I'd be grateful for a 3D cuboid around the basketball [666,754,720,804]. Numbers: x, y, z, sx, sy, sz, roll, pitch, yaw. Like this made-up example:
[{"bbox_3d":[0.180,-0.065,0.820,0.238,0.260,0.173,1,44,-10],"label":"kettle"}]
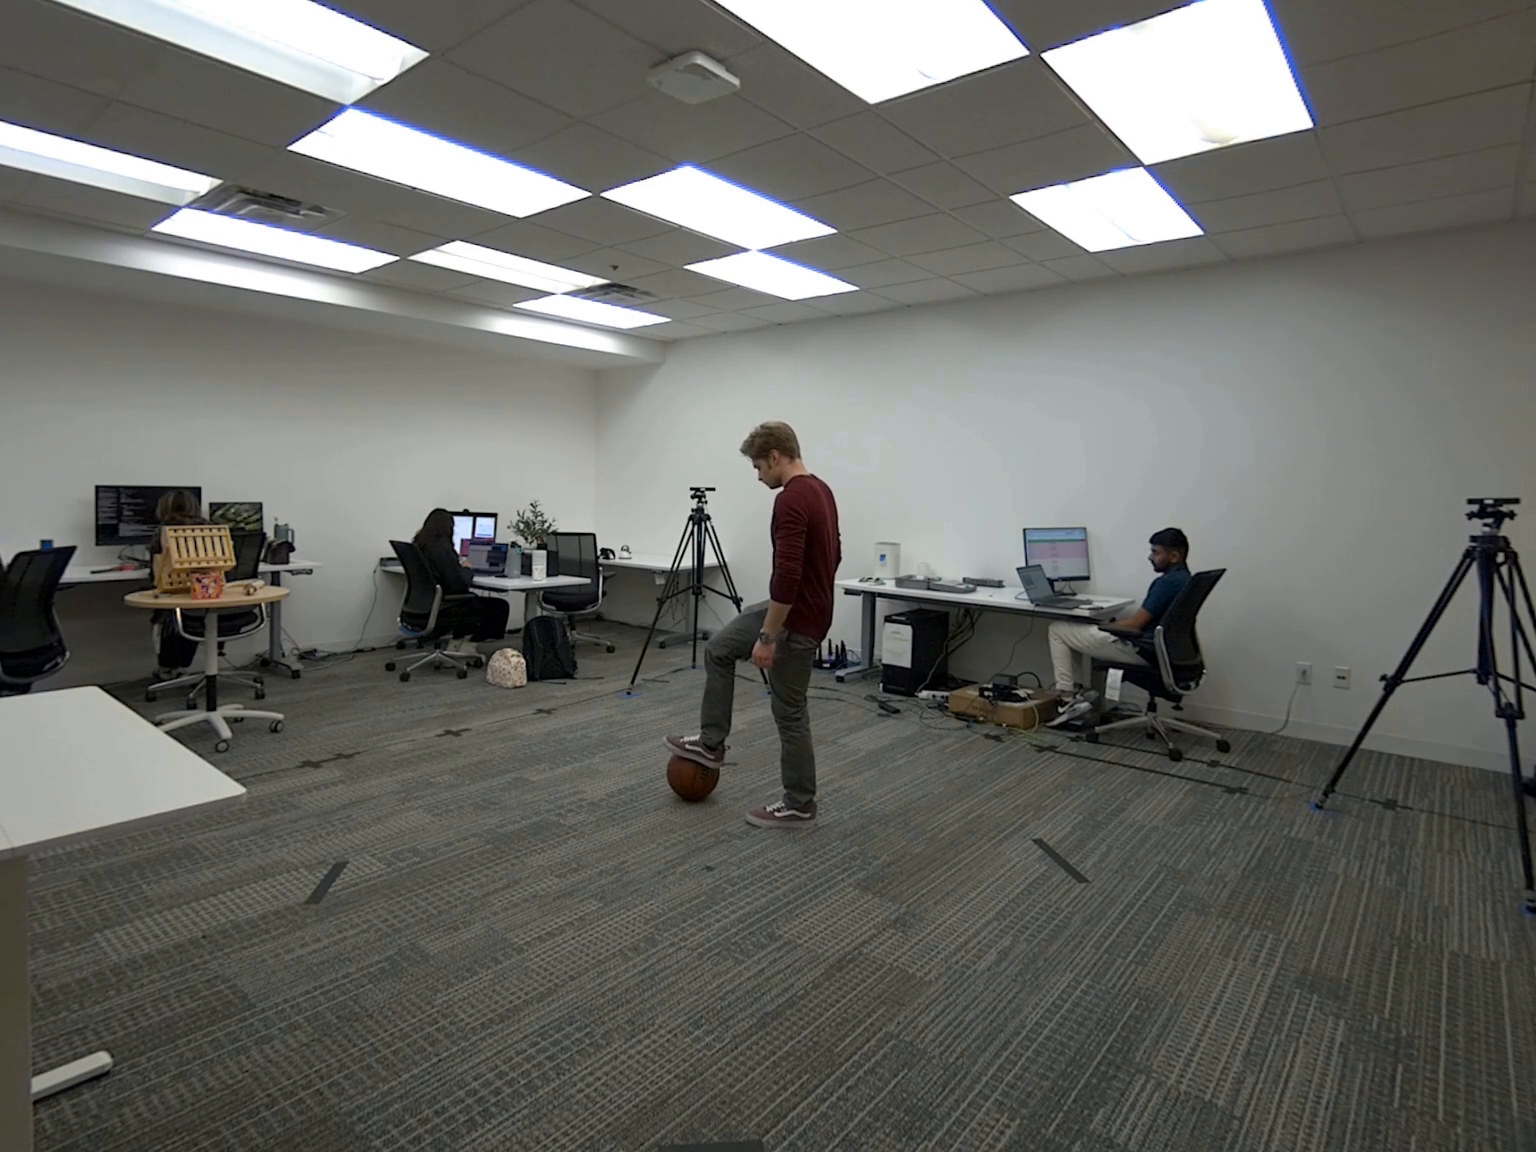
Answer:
[{"bbox_3d":[-0.343,0.873,3.816,0.235,0.235,0.237,1,4,-2],"label":"basketball"}]
